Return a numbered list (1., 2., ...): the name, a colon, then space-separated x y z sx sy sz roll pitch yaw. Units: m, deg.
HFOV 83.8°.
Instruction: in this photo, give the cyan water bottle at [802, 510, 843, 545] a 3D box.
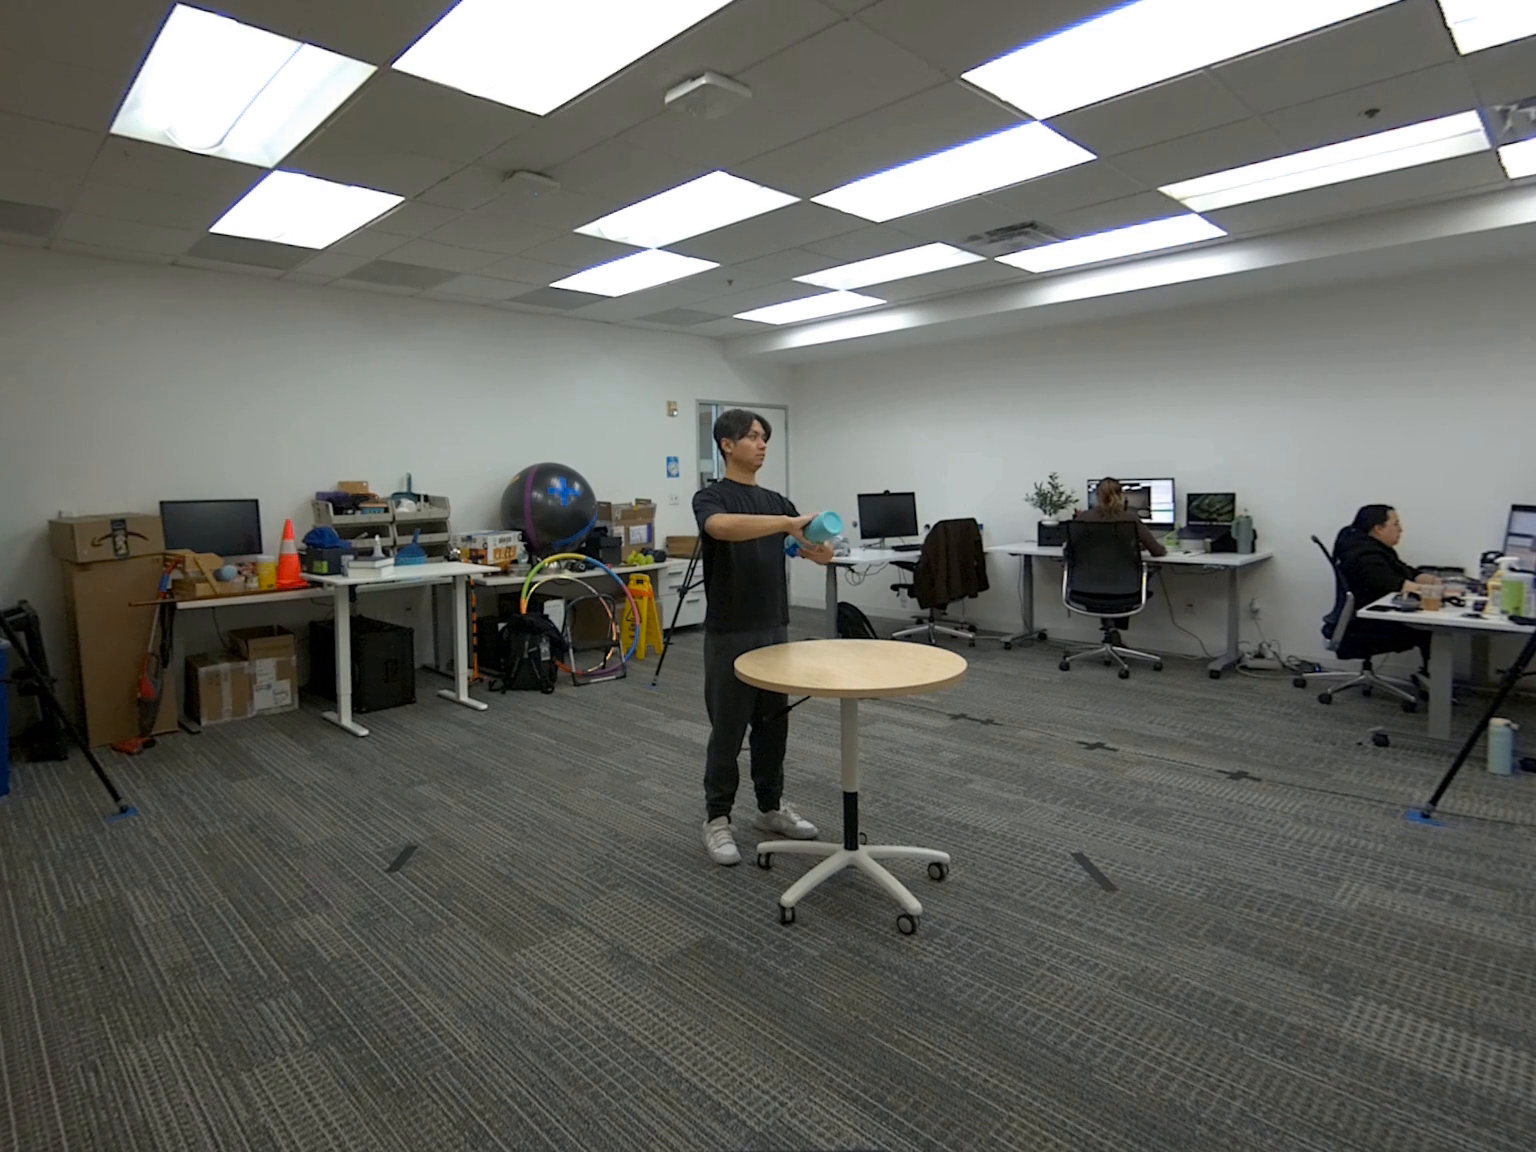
1. cyan water bottle: 0.137 -0.139 3.020 0.090 0.094 0.286 -3 -14 -30
